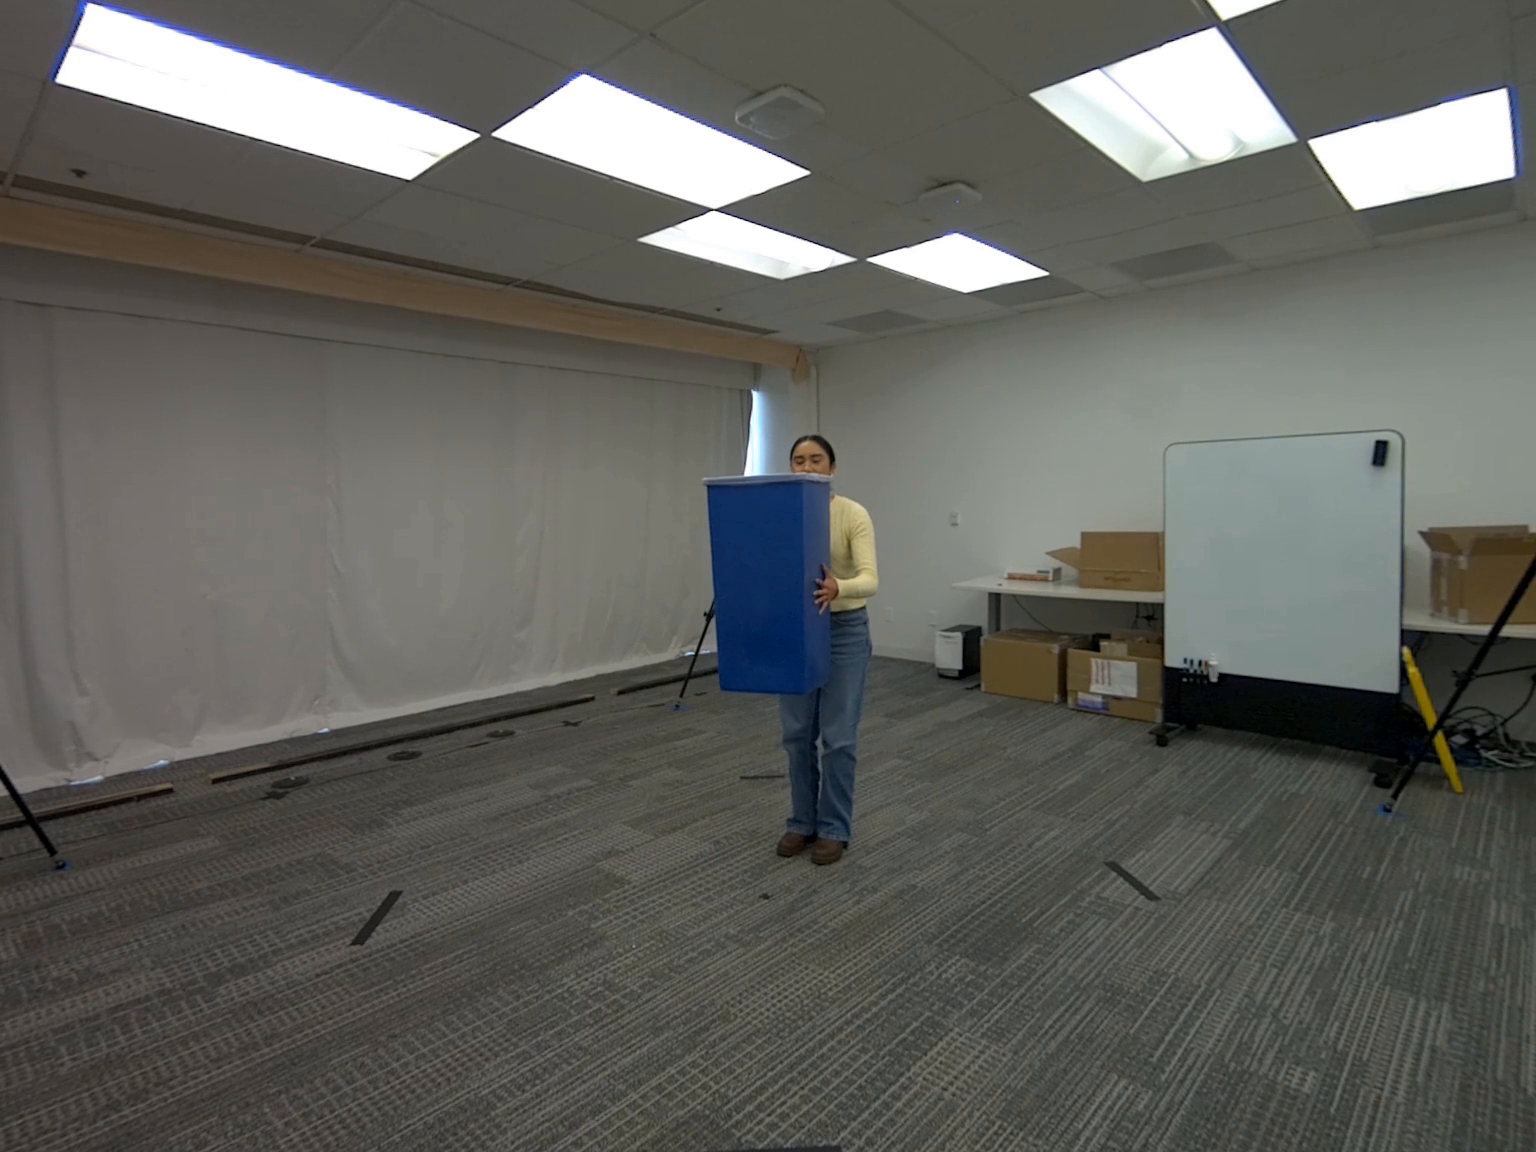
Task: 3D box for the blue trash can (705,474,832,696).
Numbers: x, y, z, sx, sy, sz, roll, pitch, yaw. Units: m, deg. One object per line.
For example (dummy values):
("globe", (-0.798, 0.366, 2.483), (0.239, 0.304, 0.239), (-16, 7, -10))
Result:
("blue trash can", (0.019, 0.026, 2.874), (0.386, 0.713, 0.366), (-2, 1, 22))
